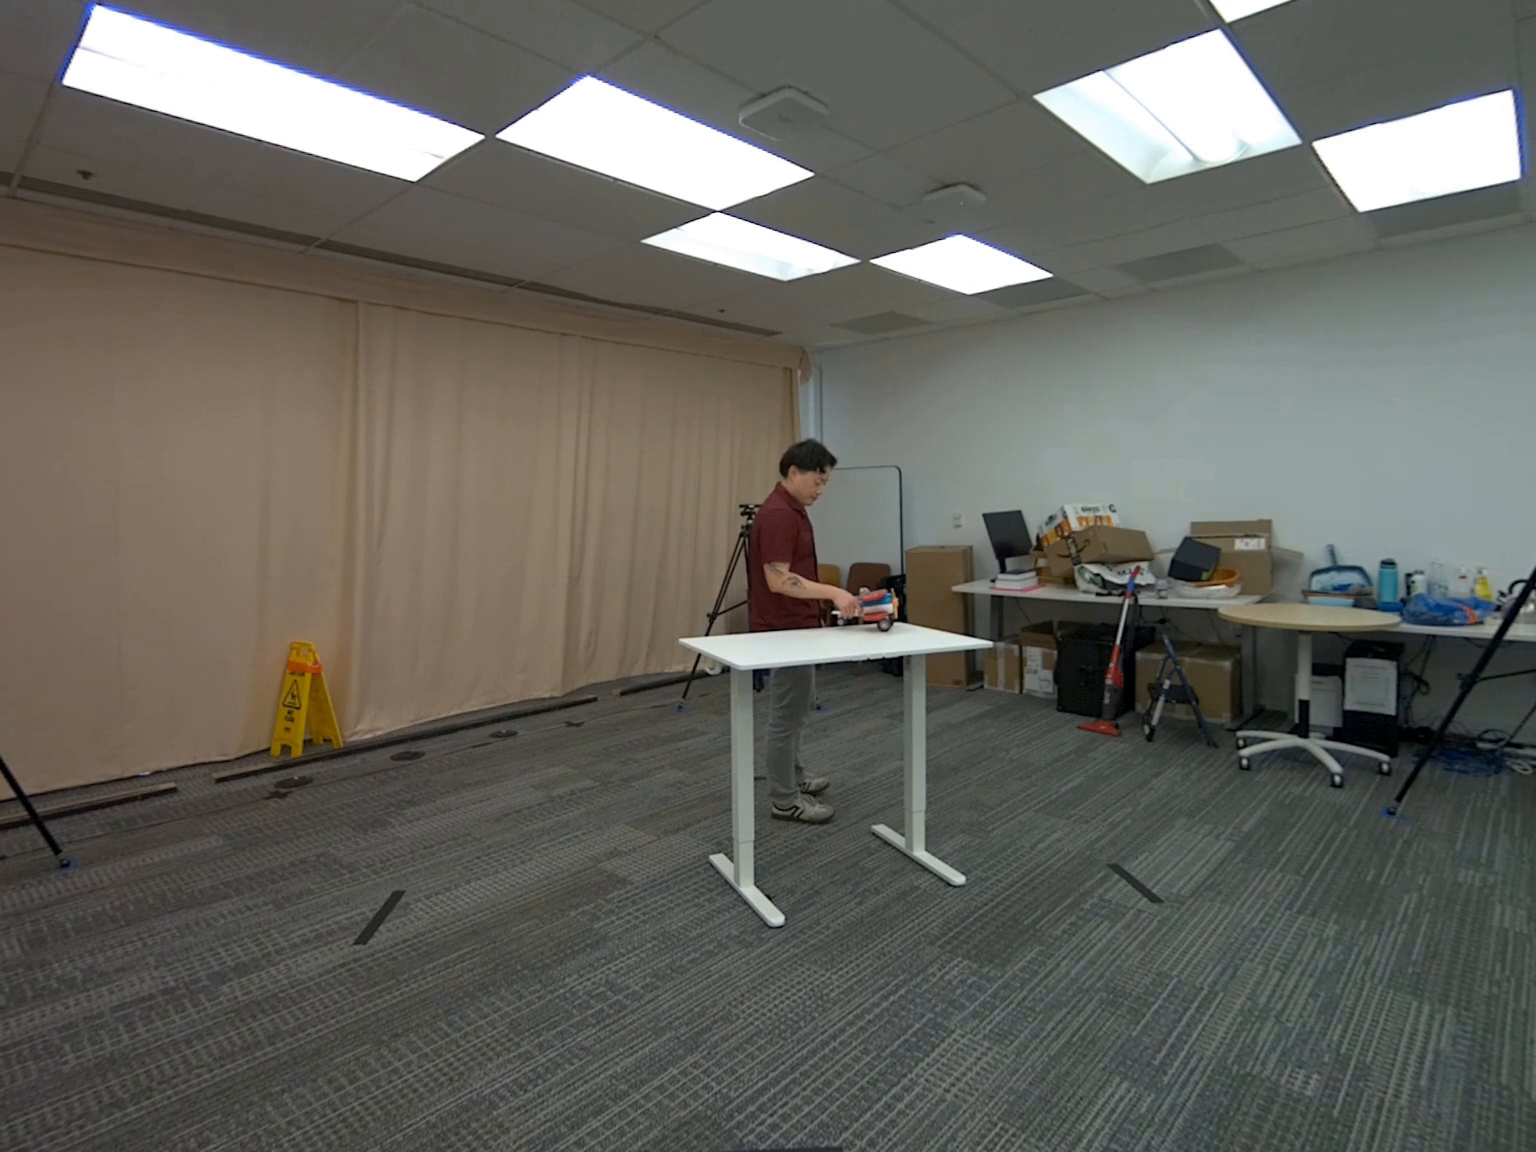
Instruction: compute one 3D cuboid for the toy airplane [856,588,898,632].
[{"bbox_3d":[0.399,0.135,3.379,0.256,0.156,0.255,4,5,-12],"label":"toy airplane"}]
